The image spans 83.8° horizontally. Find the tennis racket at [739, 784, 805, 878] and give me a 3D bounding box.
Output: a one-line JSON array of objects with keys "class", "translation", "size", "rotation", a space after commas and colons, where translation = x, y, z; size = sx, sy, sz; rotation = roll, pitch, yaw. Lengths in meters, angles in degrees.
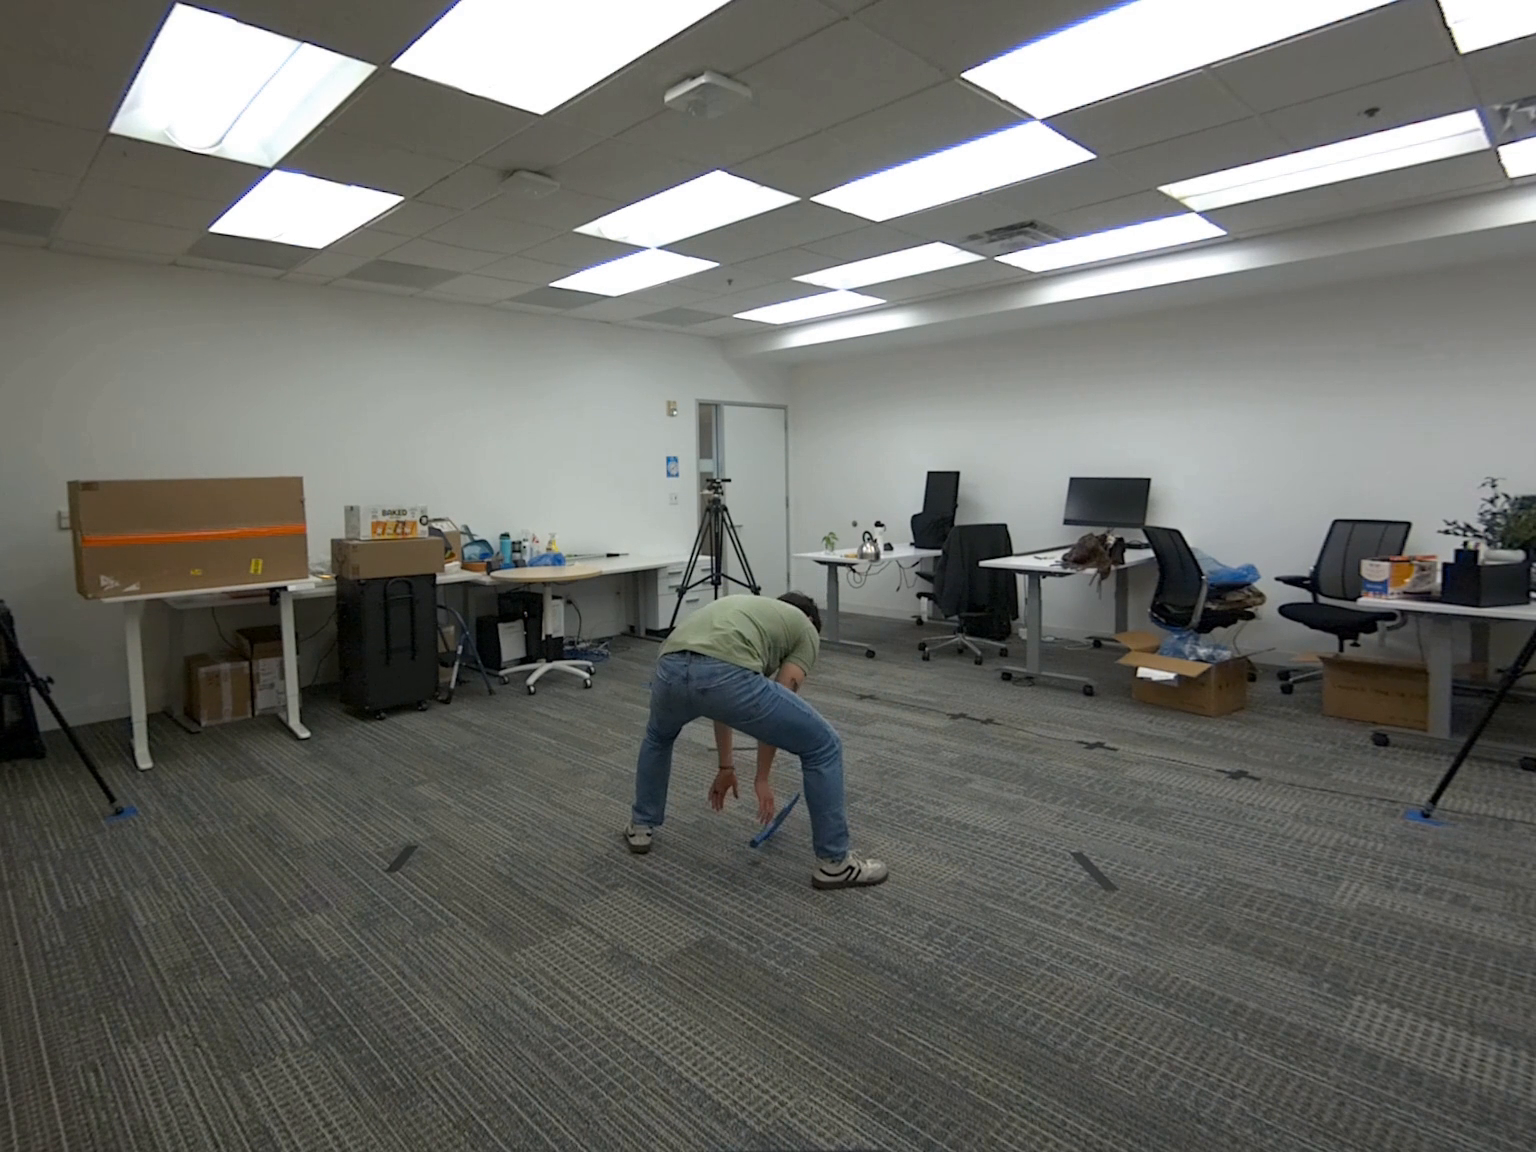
[{"class": "tennis racket", "translation": [0.031, 0.947, 3.223], "size": [0.032, 0.212, 0.426], "rotation": [32, 16, 14]}]
